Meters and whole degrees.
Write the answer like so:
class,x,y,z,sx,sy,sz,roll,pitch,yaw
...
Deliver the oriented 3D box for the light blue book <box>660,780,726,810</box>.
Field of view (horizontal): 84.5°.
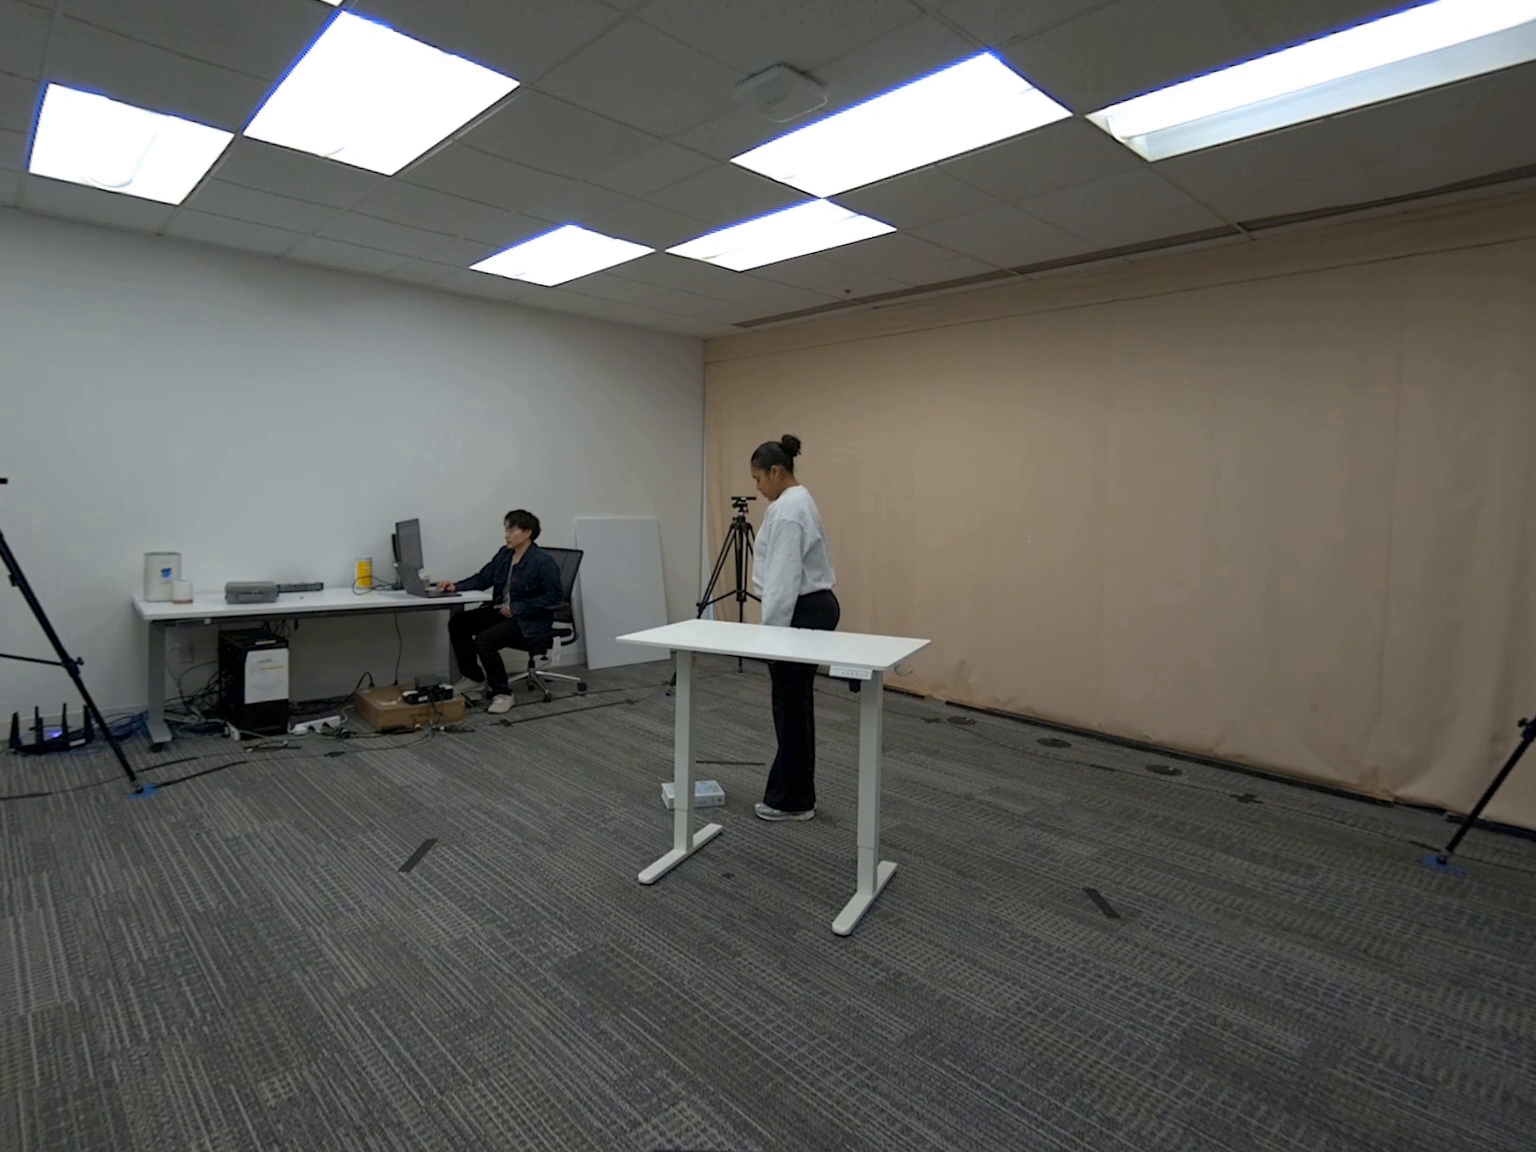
class,x,y,z,sx,sy,sz,roll,pitch,yaw
light blue book,-0.349,0.996,3.863,0.258,0.059,0.194,0,4,-15
